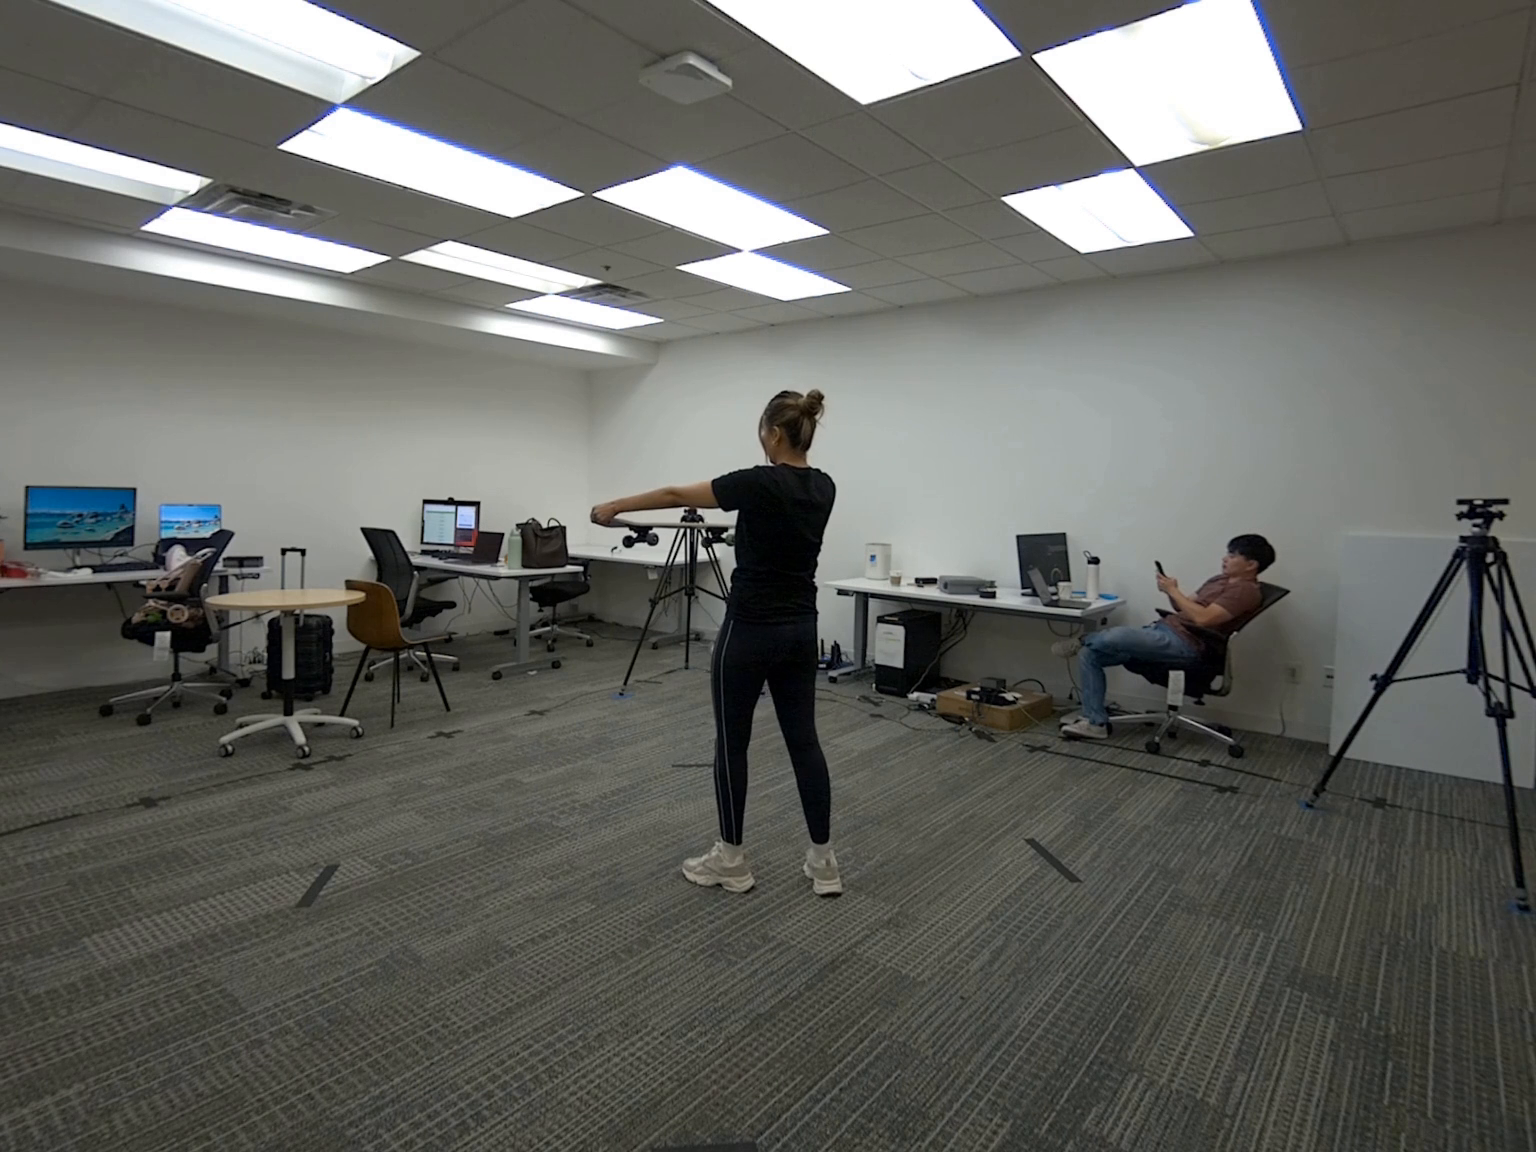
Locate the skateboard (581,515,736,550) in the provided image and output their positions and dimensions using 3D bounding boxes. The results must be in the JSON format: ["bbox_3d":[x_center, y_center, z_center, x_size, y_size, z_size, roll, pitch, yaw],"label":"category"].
[{"bbox_3d":[-0.360,-0.171,3.374,0.761,0.110,0.199,0,-1,-41],"label":"skateboard"}]
